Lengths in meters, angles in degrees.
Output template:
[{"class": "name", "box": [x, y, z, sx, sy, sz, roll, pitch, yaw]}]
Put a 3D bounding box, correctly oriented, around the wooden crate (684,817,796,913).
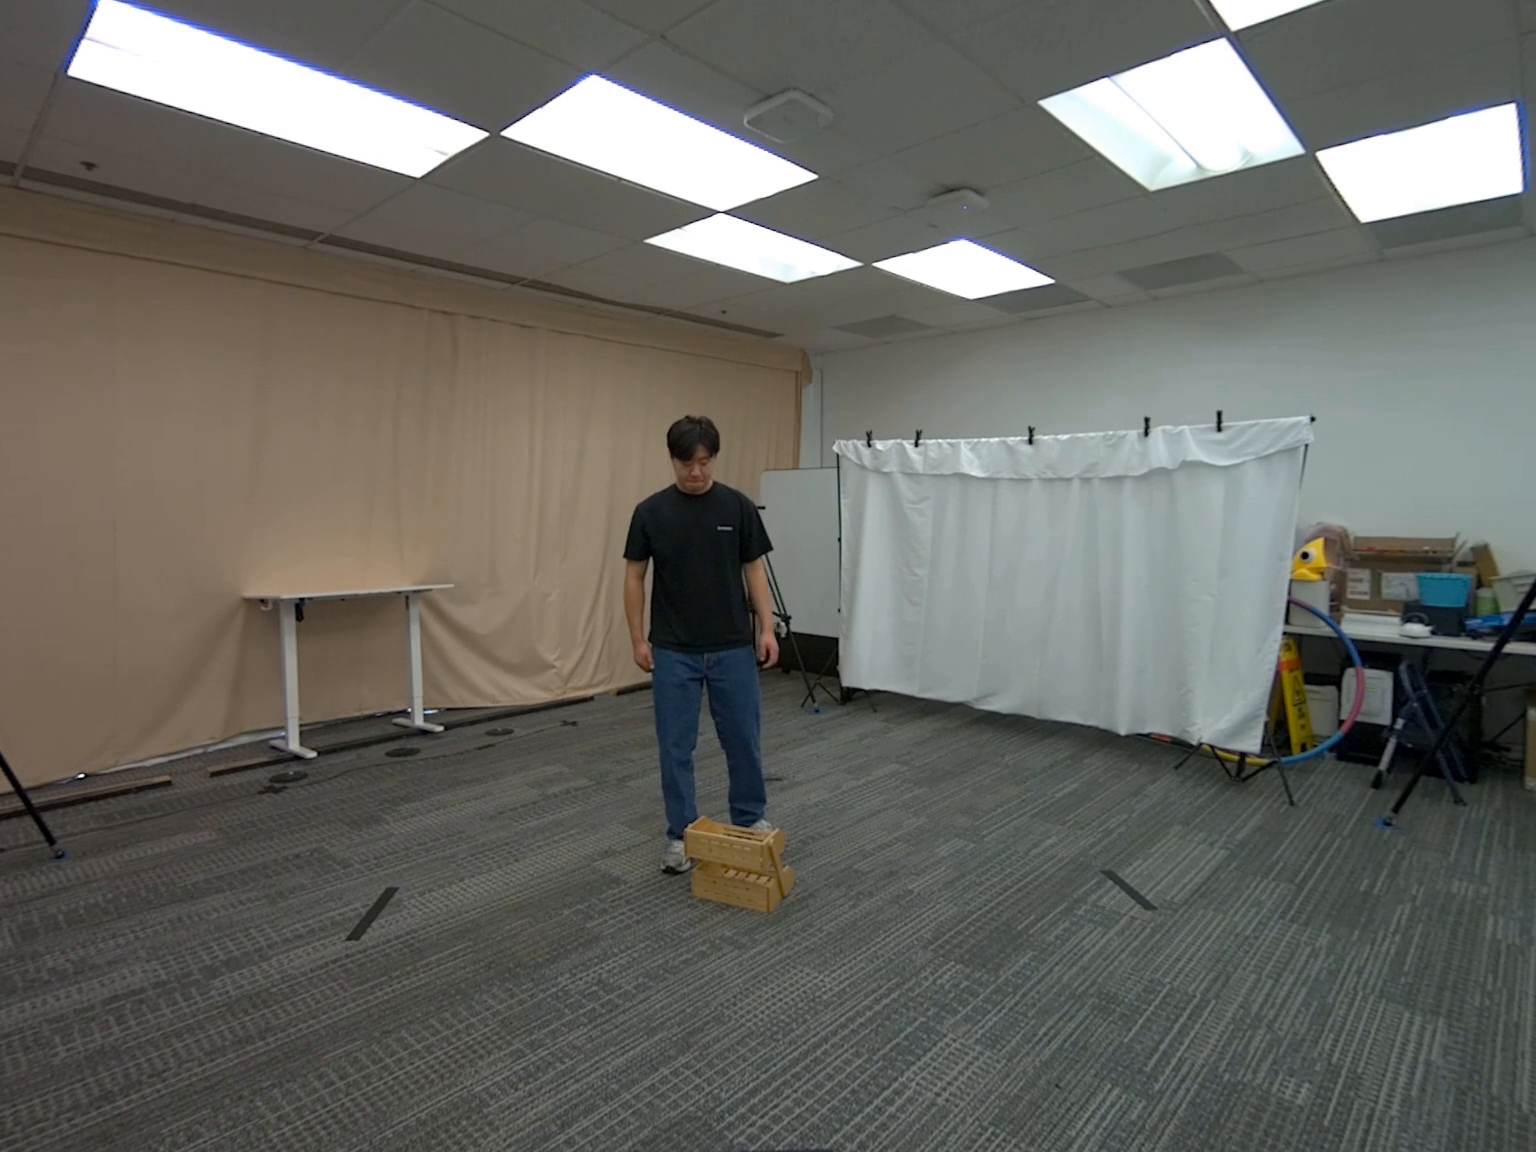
[{"class": "wooden crate", "box": [-0.095, 1.007, 3.028, 0.333, 0.273, 0.295, 2, 4, 25]}]
